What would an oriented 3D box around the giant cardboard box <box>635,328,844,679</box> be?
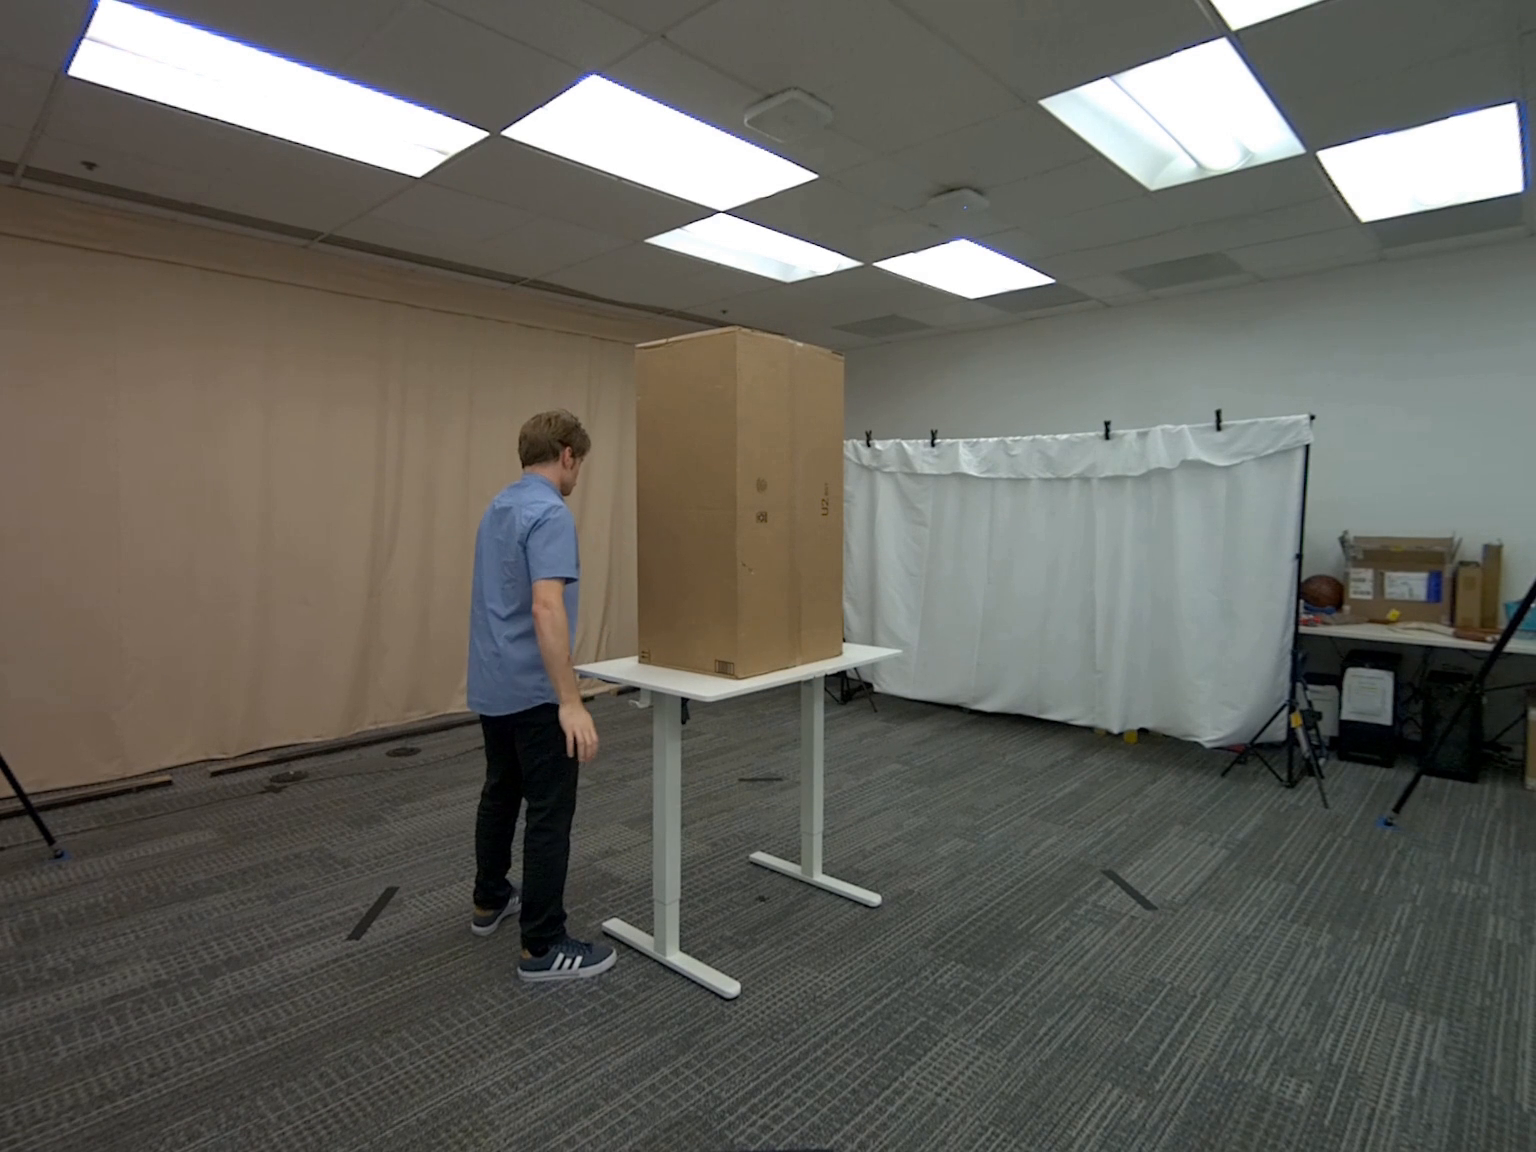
[{"bbox_3d":[-0.082,-0.228,2.775,0.440,1.024,0.560,3,4,40],"label":"giant cardboard box"}]
